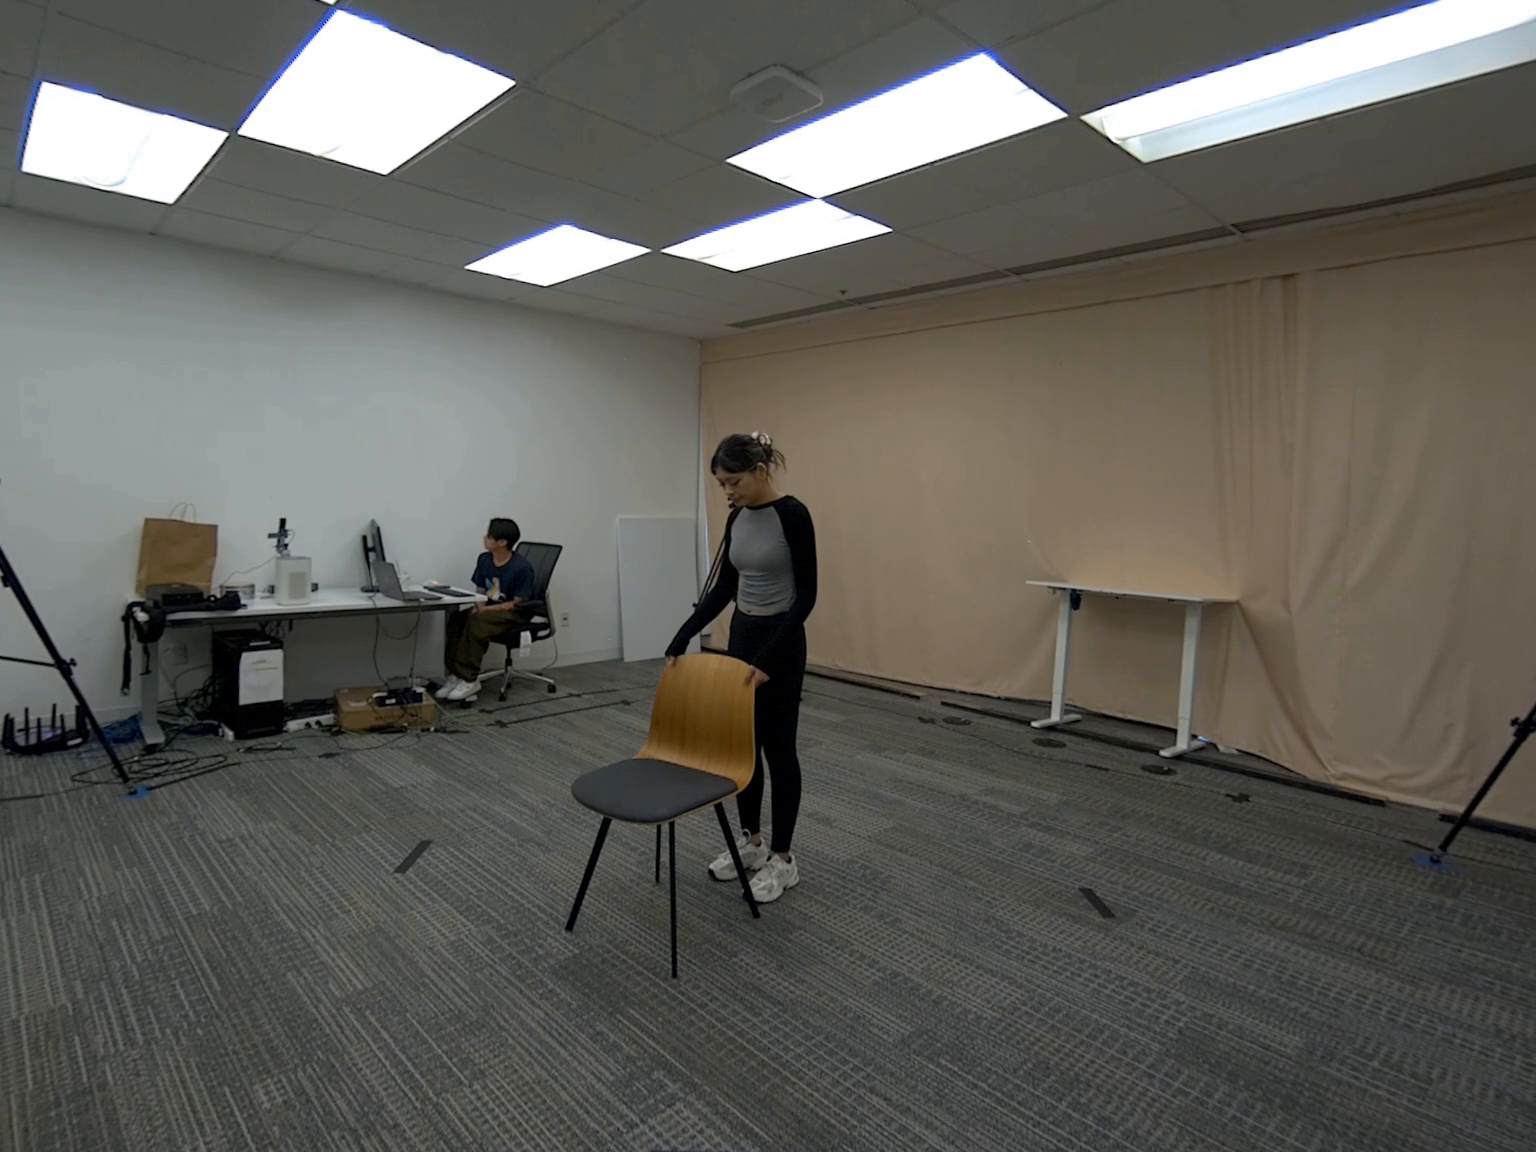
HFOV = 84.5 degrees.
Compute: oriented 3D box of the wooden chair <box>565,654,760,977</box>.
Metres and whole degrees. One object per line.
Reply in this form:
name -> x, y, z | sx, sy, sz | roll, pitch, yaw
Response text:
wooden chair -> -0.331, 0.712, 2.702 | 0.489, 0.878, 0.510 | 4, -1, 34
